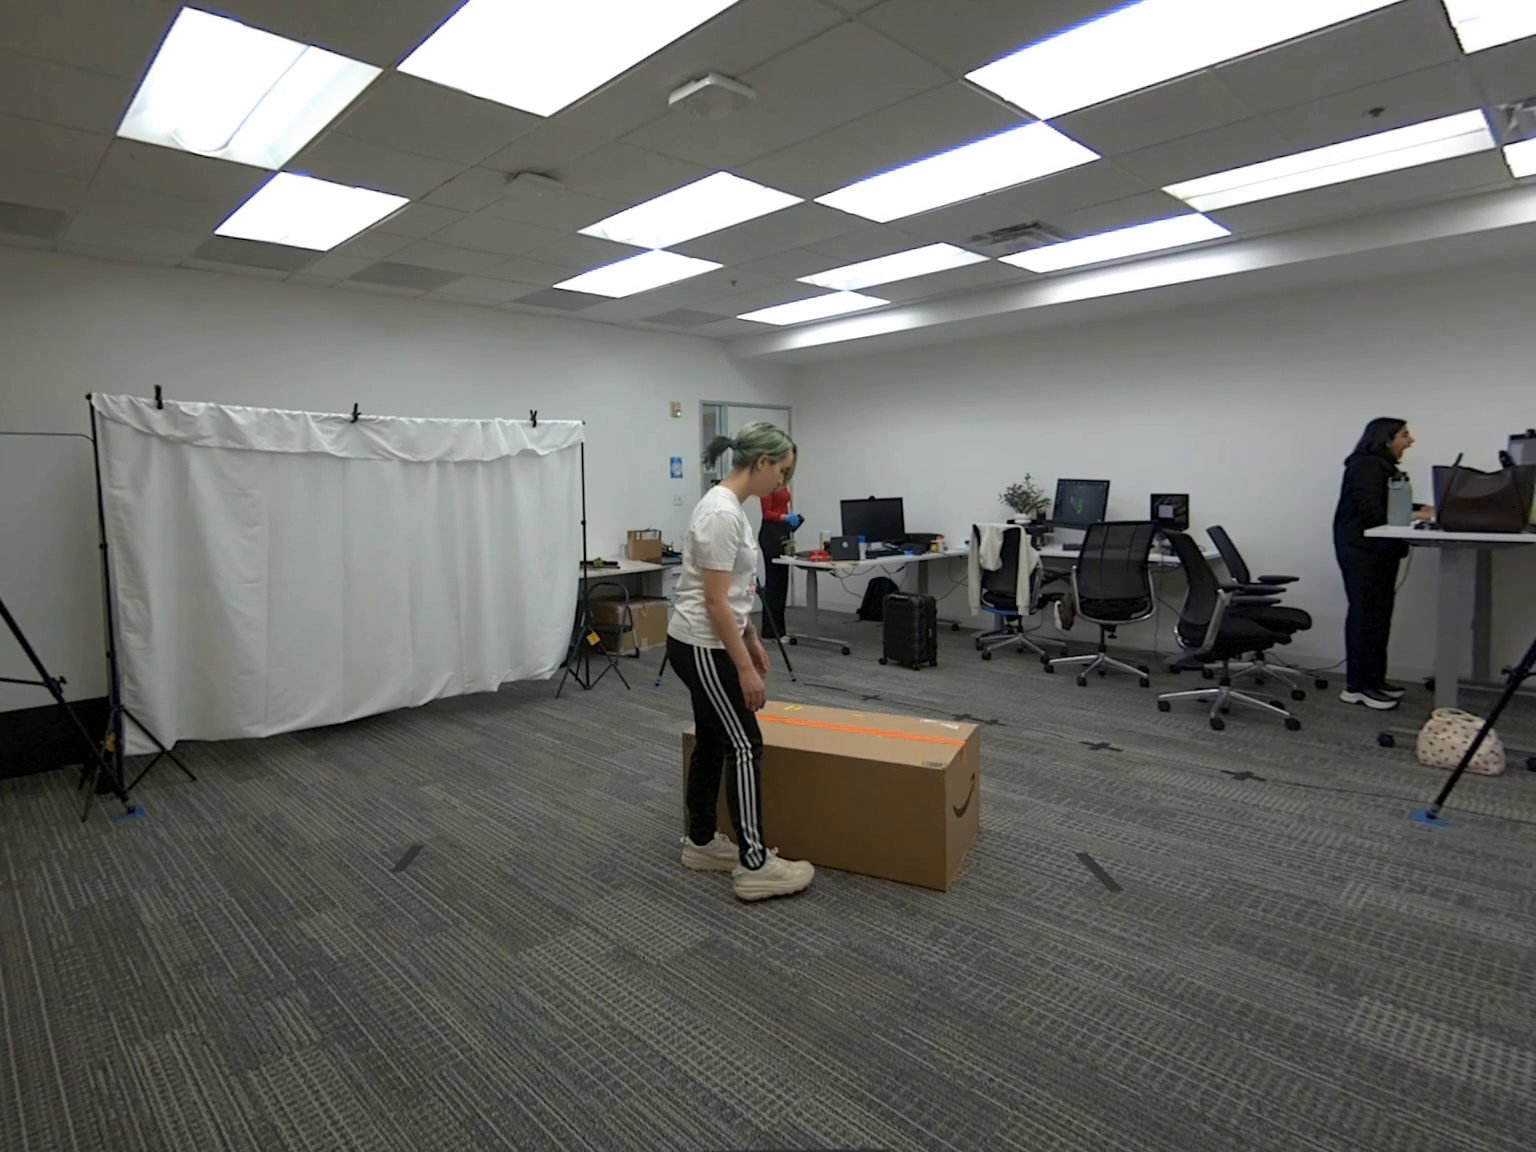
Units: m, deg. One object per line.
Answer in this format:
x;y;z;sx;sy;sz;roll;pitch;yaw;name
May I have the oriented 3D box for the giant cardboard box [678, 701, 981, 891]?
0.248;0.797;3.340;1.050;0.425;0.566;2;6;26;giant cardboard box
